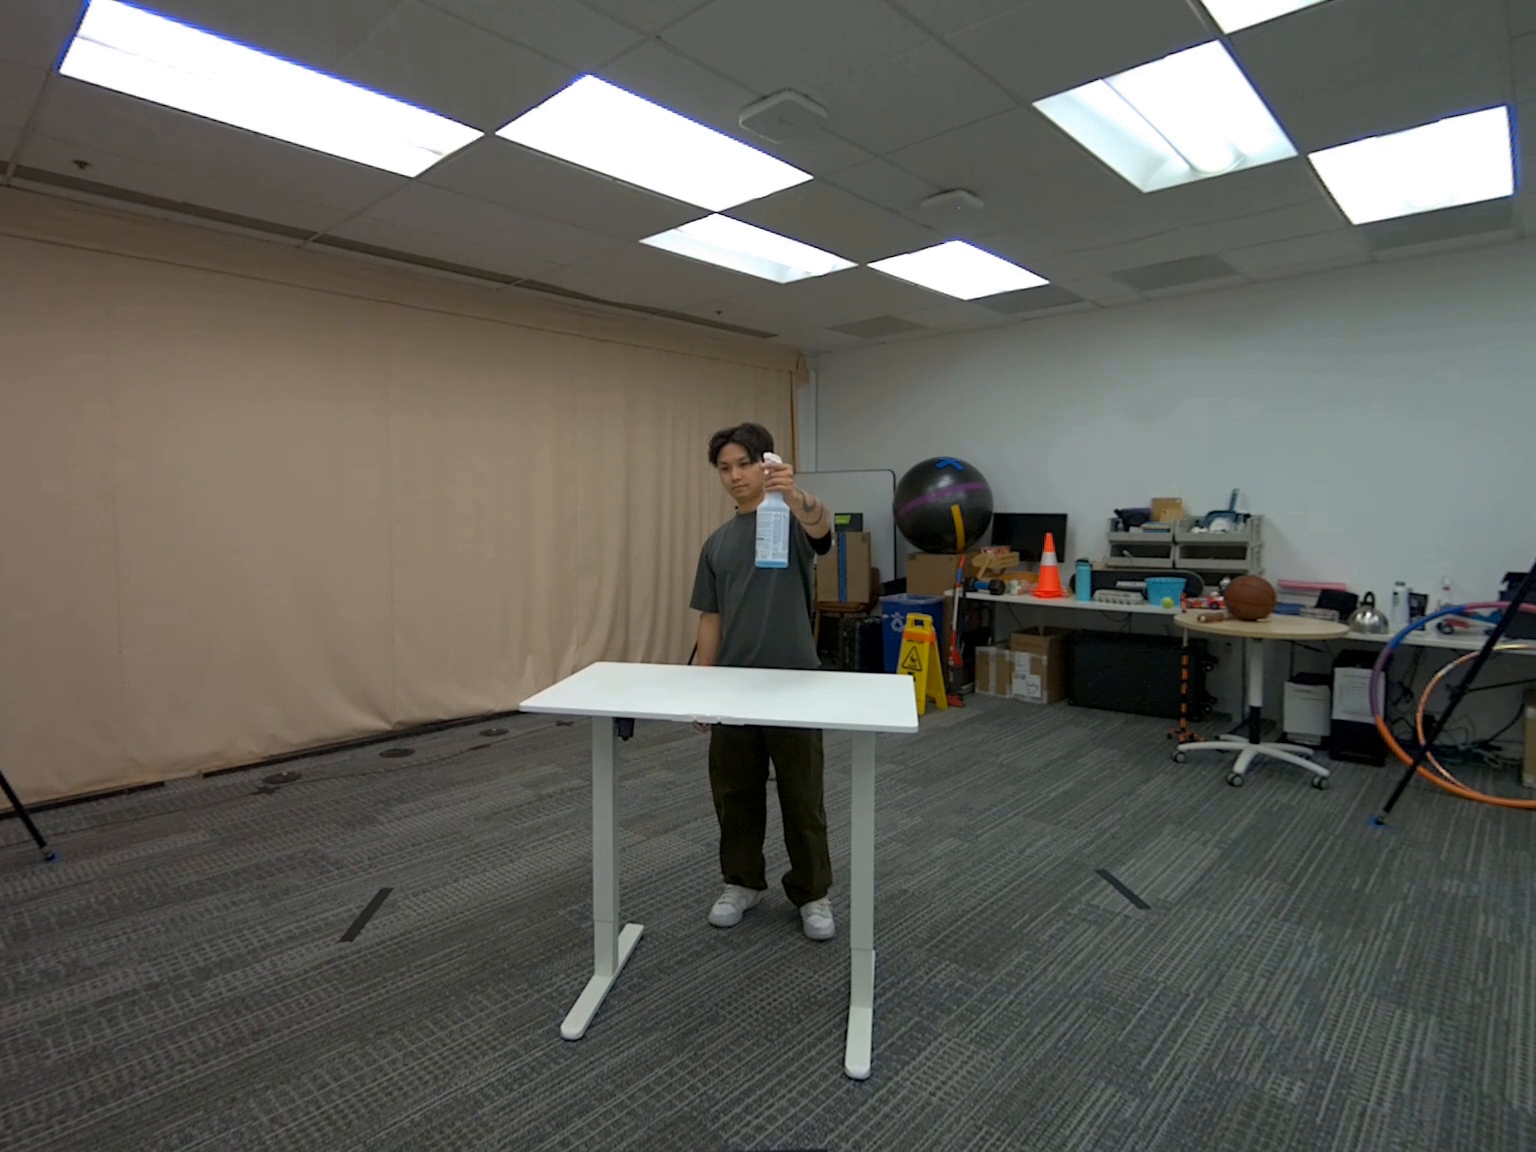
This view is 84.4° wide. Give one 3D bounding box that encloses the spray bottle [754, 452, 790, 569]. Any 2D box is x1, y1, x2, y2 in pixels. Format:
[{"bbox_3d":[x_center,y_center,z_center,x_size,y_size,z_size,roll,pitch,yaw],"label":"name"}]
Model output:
[{"bbox_3d":[0.009,-0.168,2.224,0.087,0.298,0.089,2,-2,-36],"label":"spray bottle"}]
